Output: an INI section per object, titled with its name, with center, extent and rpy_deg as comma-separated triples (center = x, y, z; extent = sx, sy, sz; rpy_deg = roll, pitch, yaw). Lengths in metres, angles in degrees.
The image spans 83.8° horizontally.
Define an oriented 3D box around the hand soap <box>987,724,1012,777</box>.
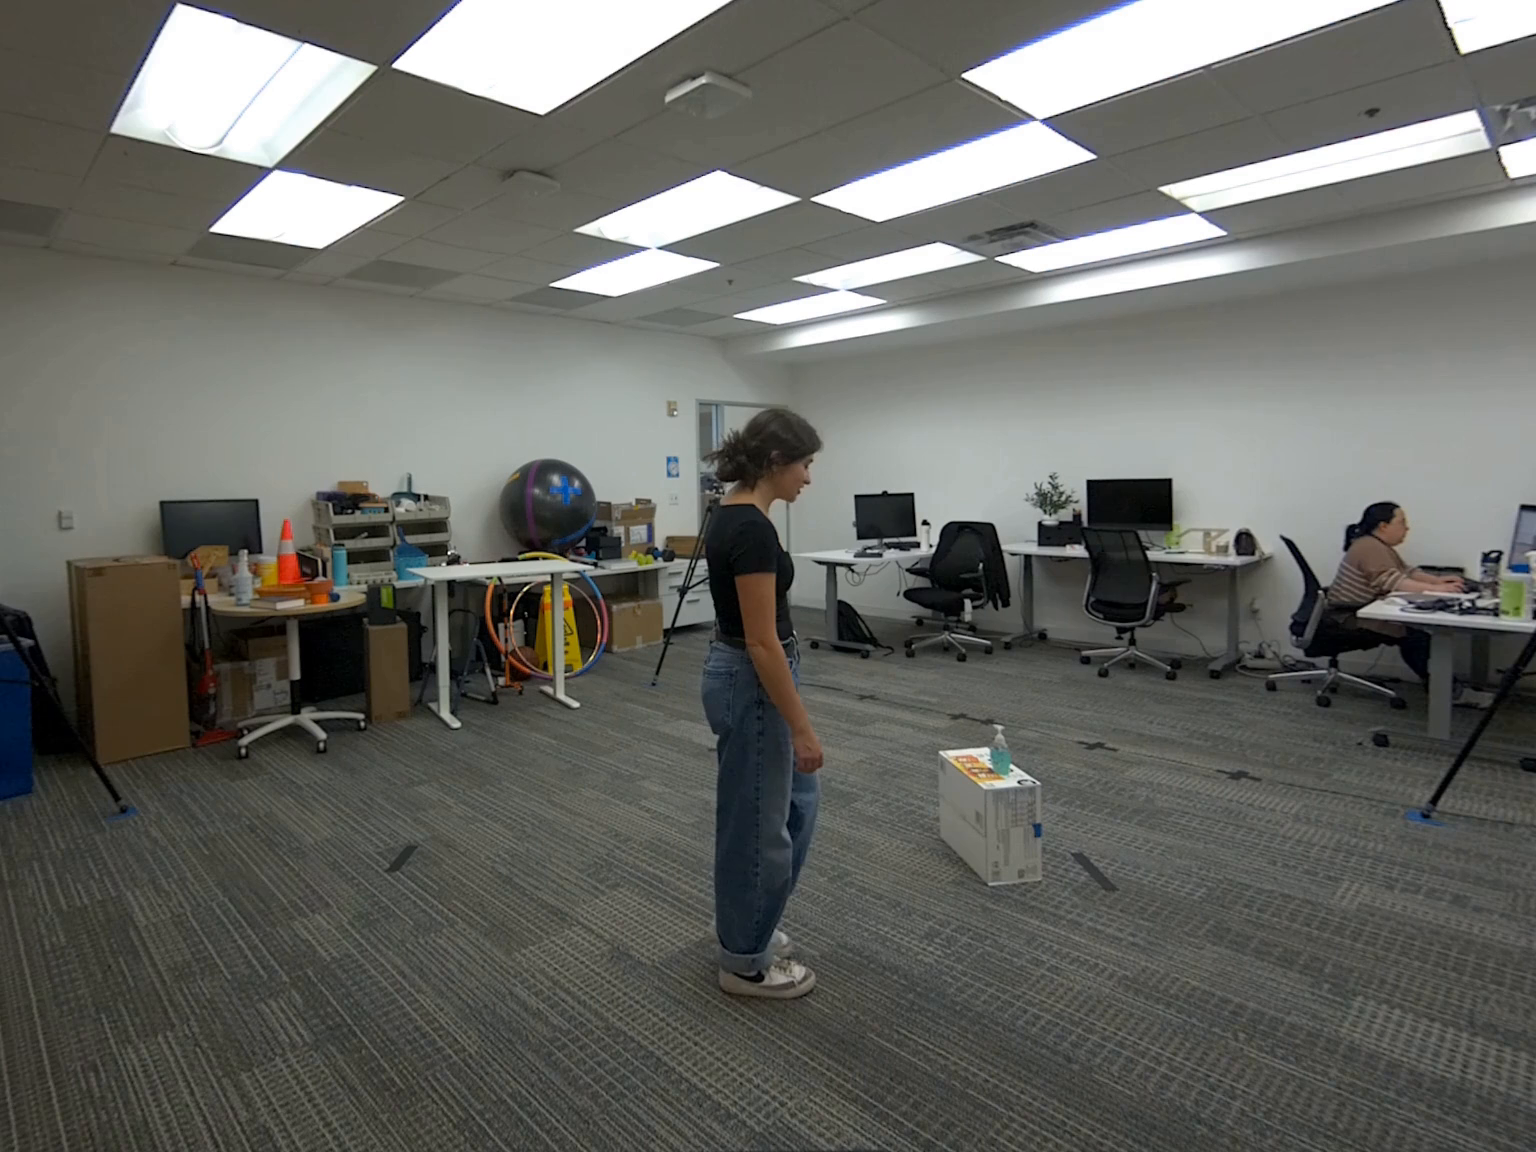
[hand soap]
center = 0.831, 0.616, 3.039
extent = 0.042, 0.167, 0.086
rpy_deg = -5, 5, -24
